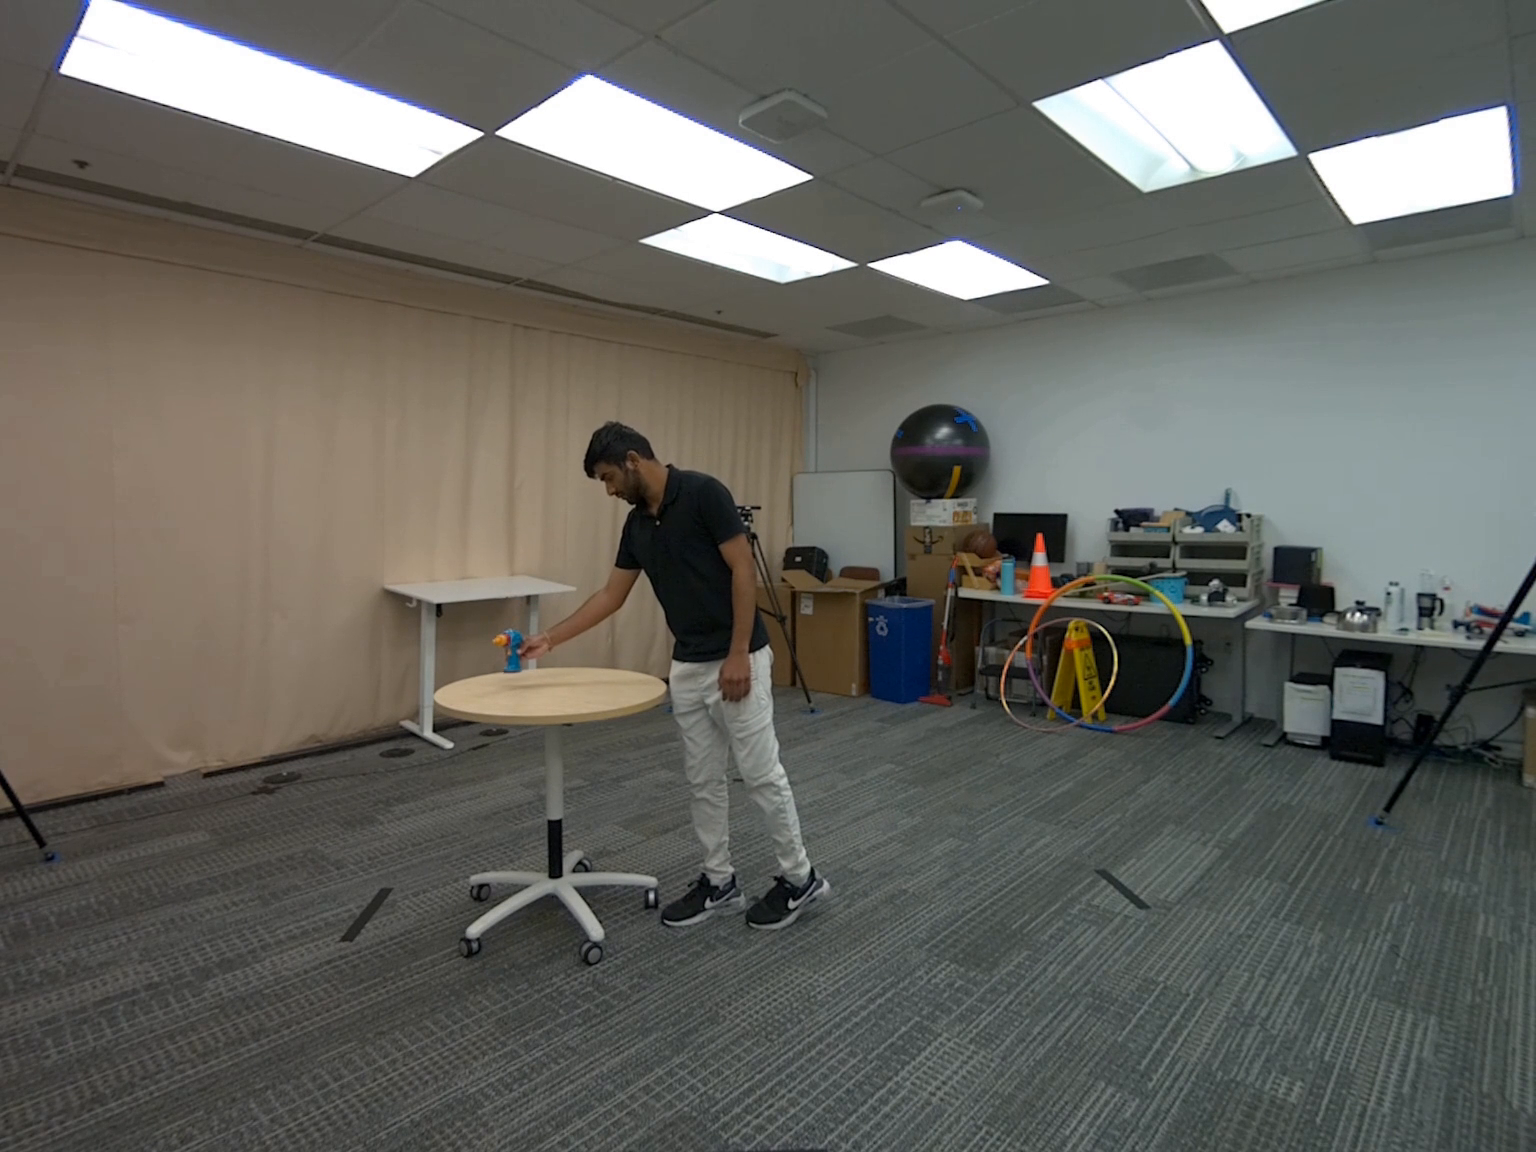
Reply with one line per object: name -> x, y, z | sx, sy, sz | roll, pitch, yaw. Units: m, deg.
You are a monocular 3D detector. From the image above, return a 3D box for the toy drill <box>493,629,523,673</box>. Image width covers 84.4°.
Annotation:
toy drill -> -0.868, 0.250, 2.810 | 0.062, 0.146, 0.167 | 1, -1, 11
